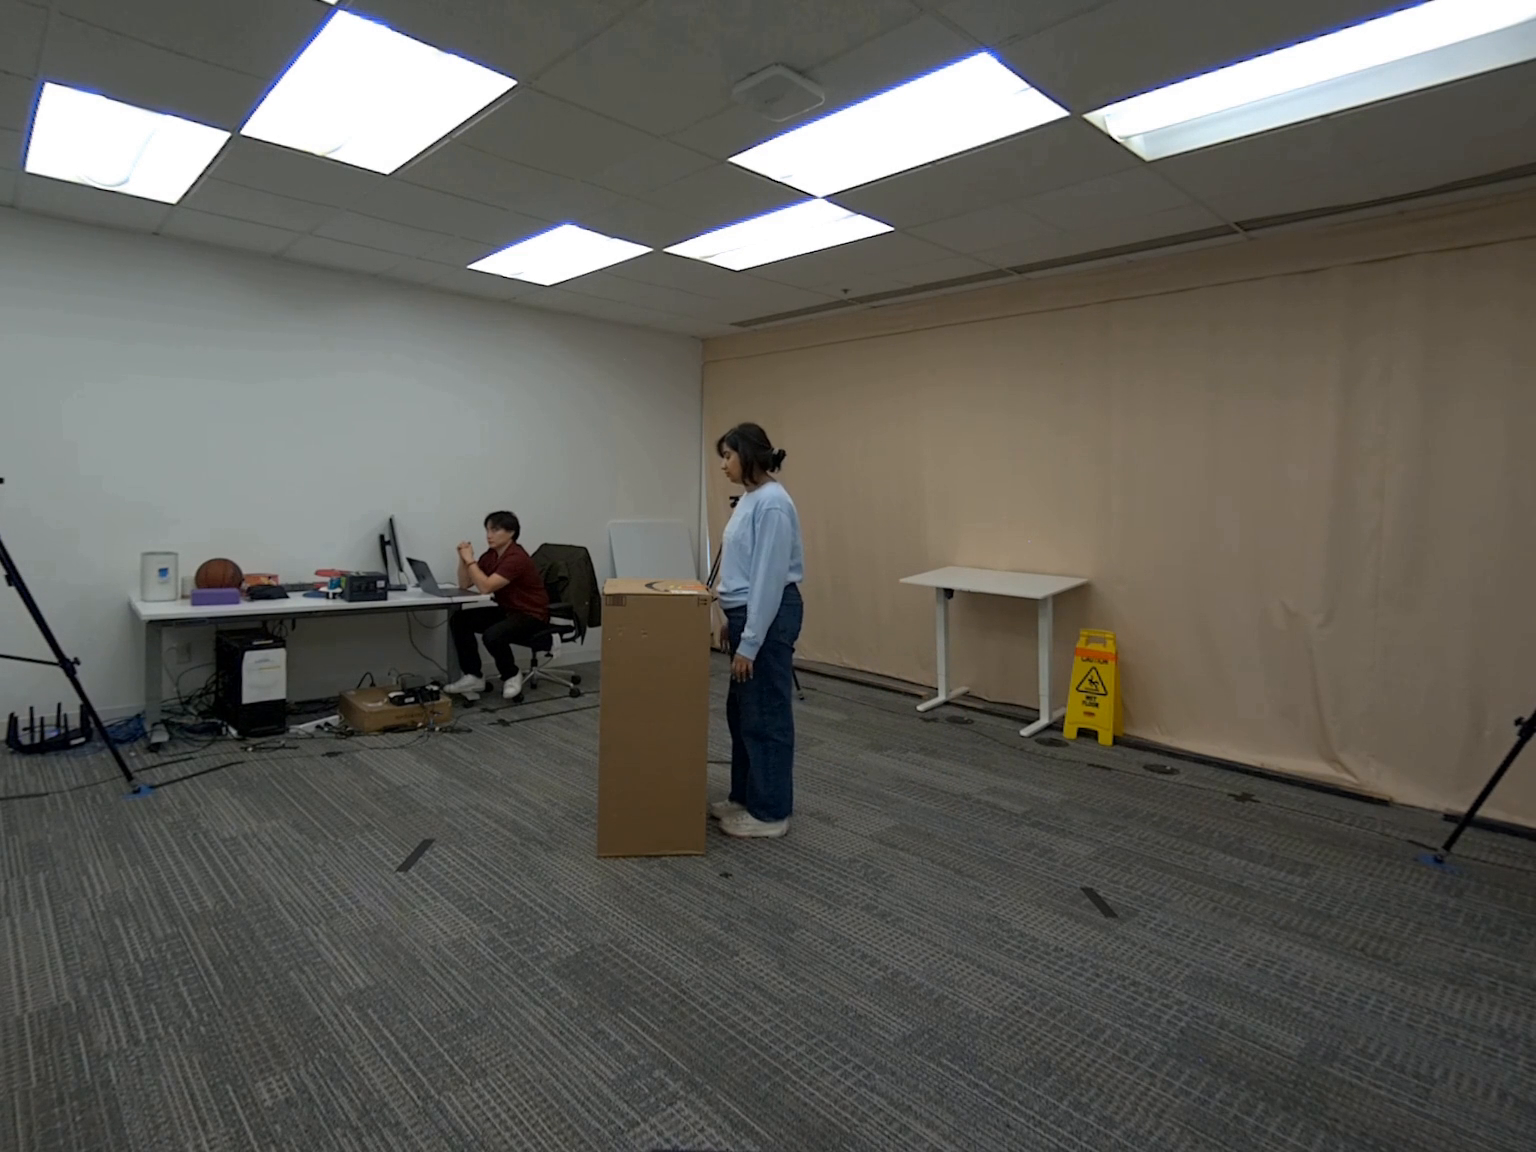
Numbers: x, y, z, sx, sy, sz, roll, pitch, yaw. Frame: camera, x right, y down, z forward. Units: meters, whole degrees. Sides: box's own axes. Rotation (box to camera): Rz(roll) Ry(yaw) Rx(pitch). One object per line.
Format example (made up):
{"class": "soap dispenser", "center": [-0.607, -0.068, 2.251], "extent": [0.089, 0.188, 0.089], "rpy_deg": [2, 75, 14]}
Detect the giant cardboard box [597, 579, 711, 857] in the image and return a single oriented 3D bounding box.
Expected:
{"class": "giant cardboard box", "center": [-0.491, 0.553, 3.507], "extent": [0.444, 1.025, 0.588], "rpy_deg": [2, 3, -8]}
